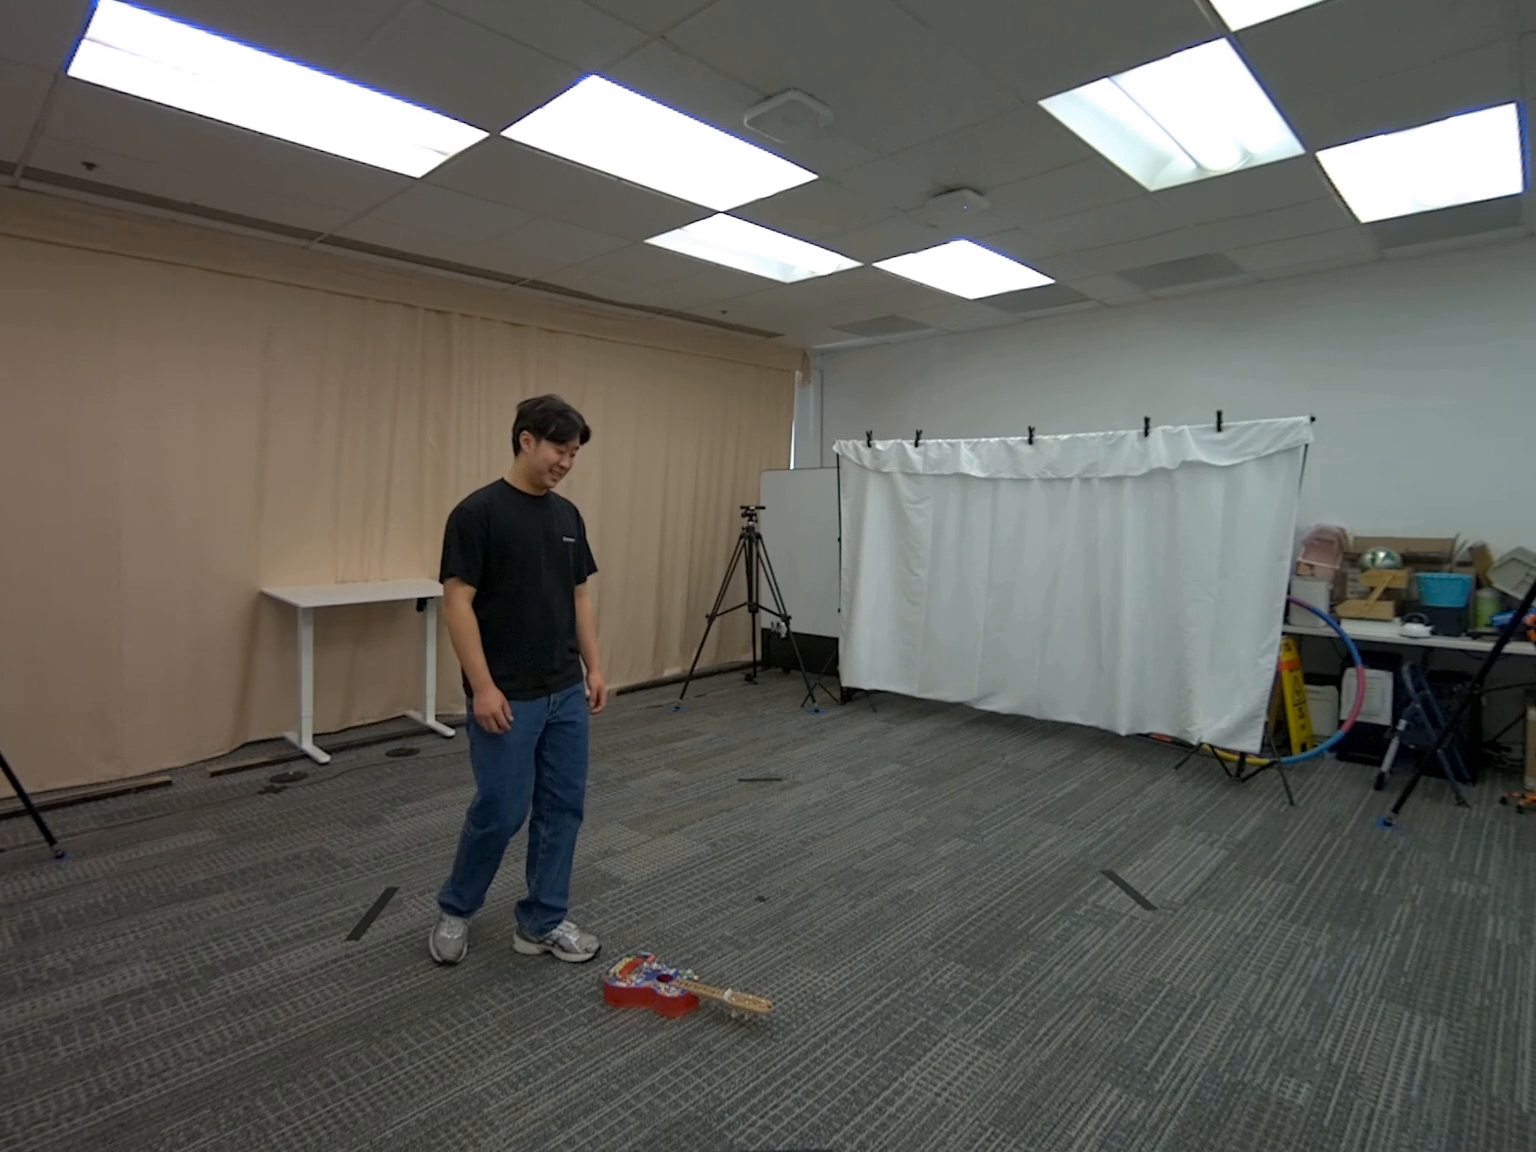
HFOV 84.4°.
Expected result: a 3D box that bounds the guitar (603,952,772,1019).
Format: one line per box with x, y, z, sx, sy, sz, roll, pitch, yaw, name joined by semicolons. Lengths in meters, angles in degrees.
-0.237;1.170;2.317;0.513;0.070;0.187;2;4;35;guitar
